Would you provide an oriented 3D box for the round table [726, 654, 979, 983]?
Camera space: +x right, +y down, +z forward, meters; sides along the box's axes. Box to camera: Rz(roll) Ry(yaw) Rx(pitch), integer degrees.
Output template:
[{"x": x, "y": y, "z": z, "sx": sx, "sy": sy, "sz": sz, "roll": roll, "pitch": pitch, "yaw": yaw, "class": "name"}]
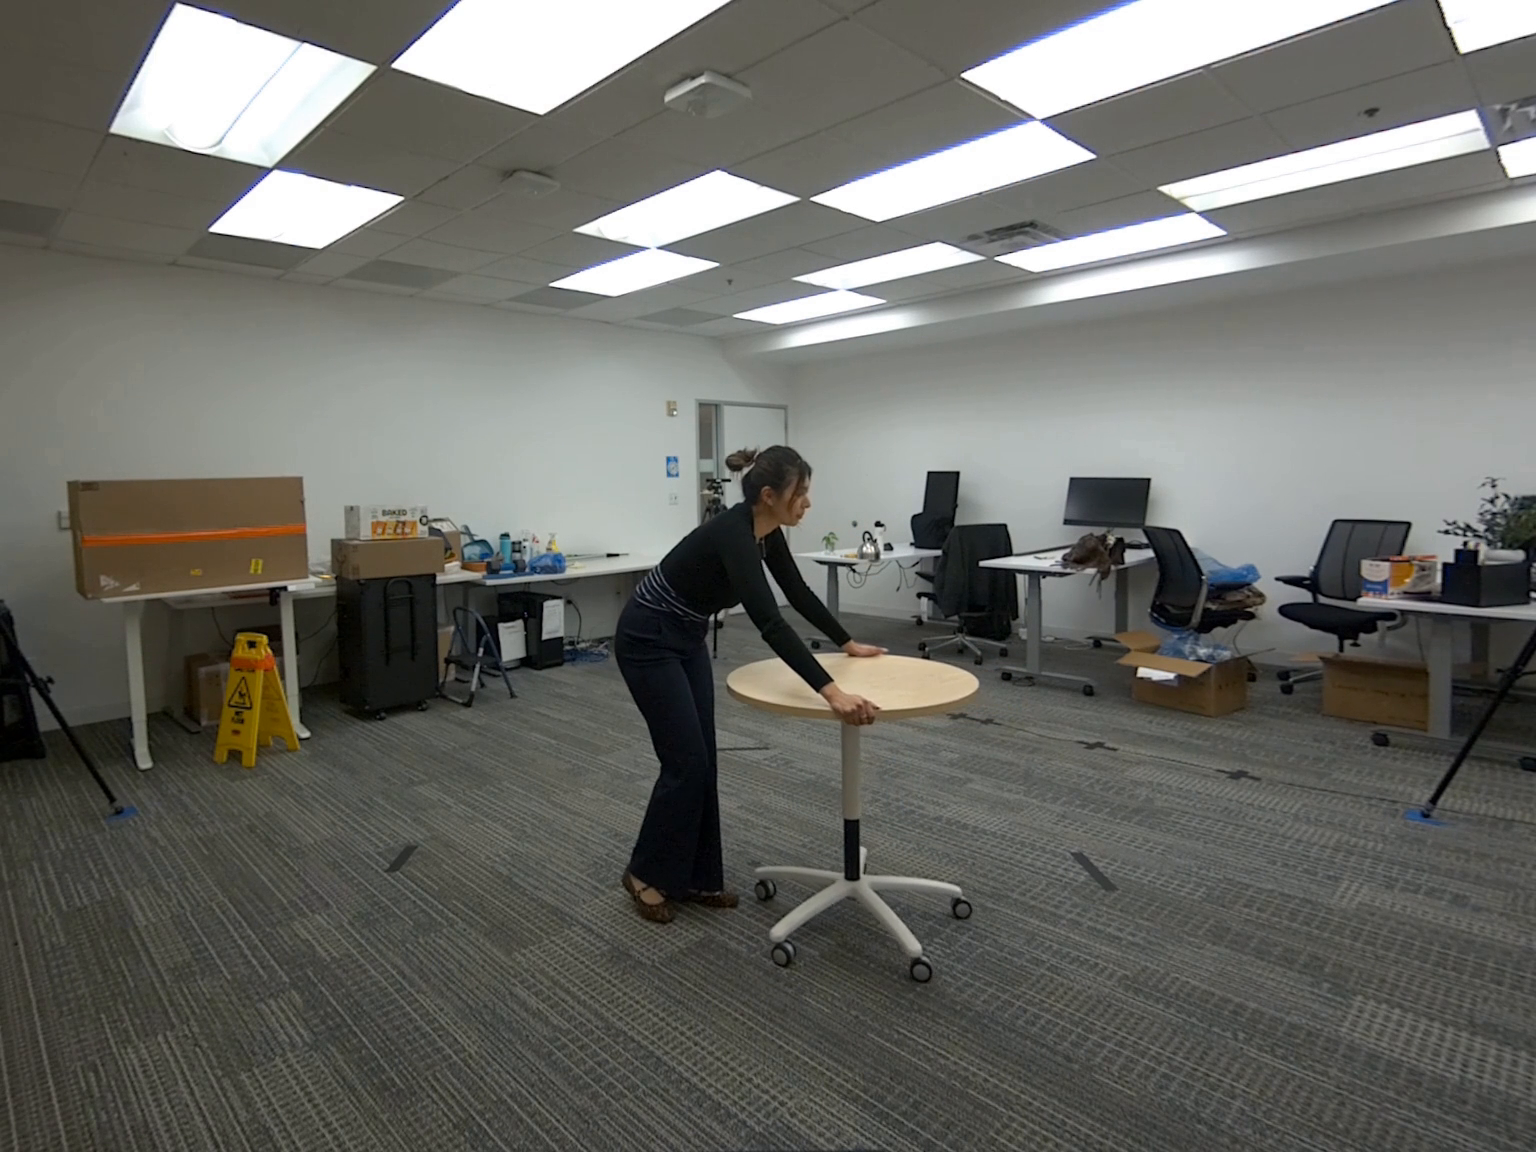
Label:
[{"x": 0.271, "y": 0.702, "z": 2.666, "sx": 0.763, "sy": 0.791, "sz": 0.768, "roll": -1, "pitch": 5, "yaw": -2, "class": "round table"}]
